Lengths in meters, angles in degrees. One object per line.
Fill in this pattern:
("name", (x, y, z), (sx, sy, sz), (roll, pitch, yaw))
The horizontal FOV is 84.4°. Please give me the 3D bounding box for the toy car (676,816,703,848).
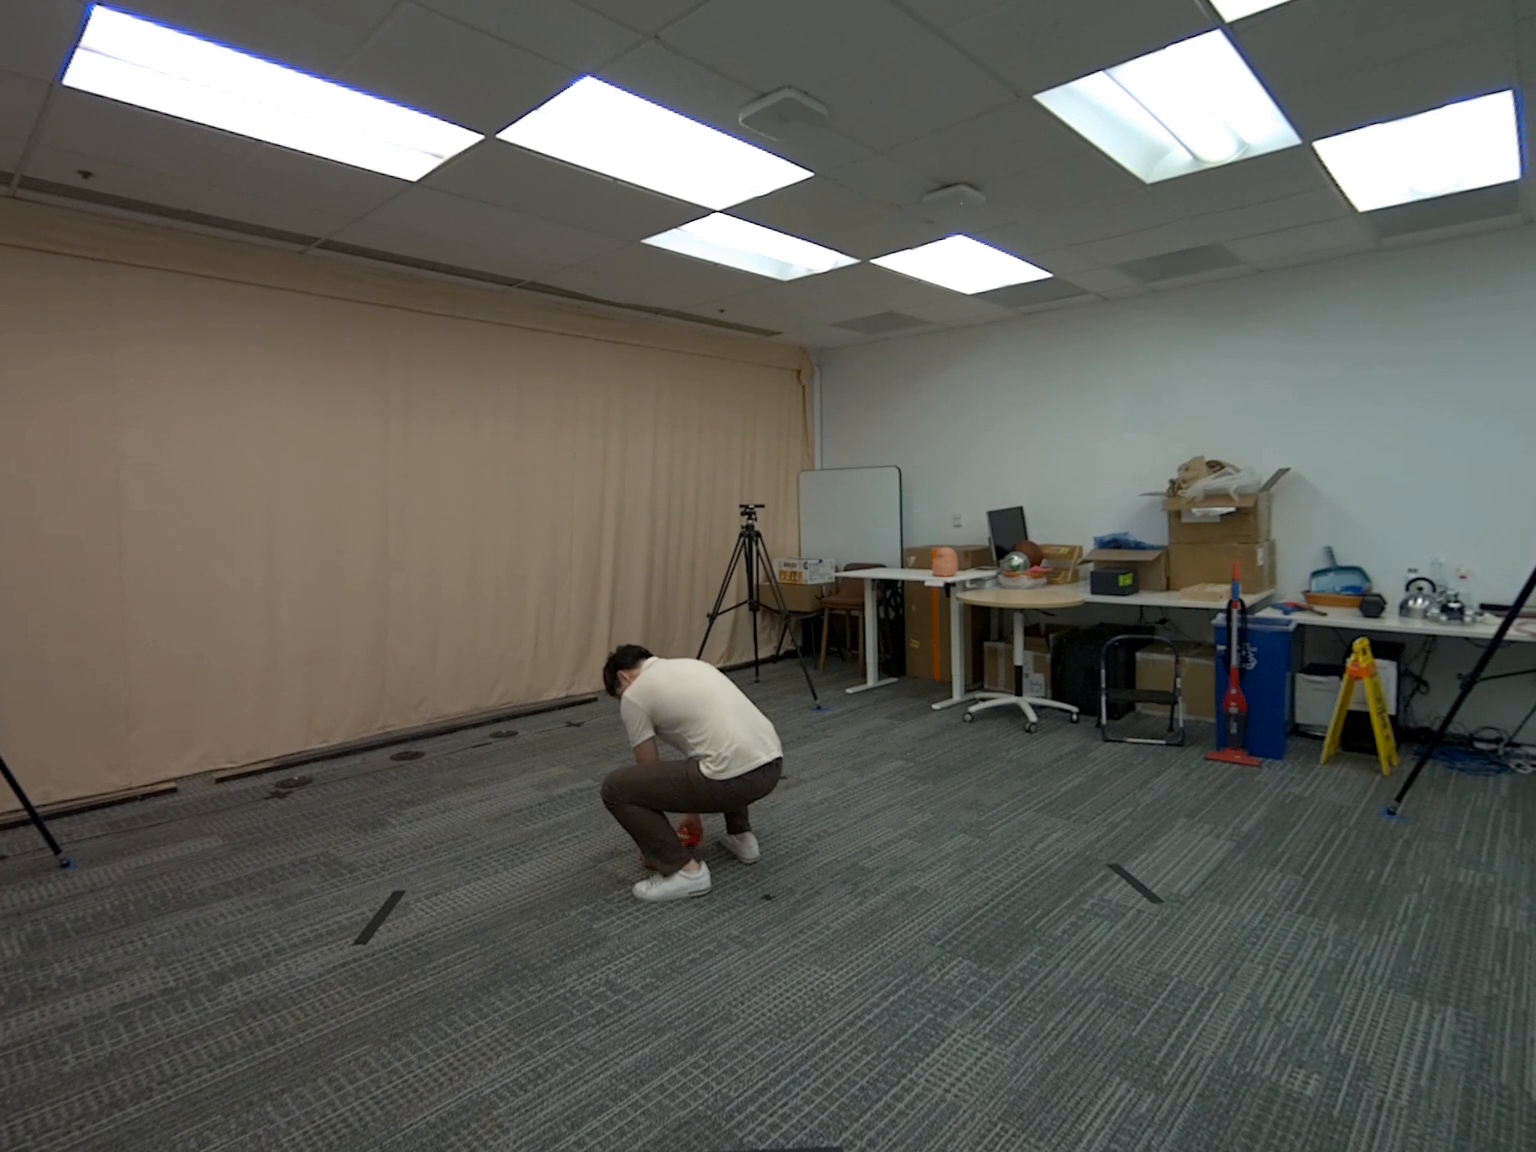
("toy car", (-0.393, 1.072, 3.329), (0.134, 0.082, 0.249), (0, 16, 43))
